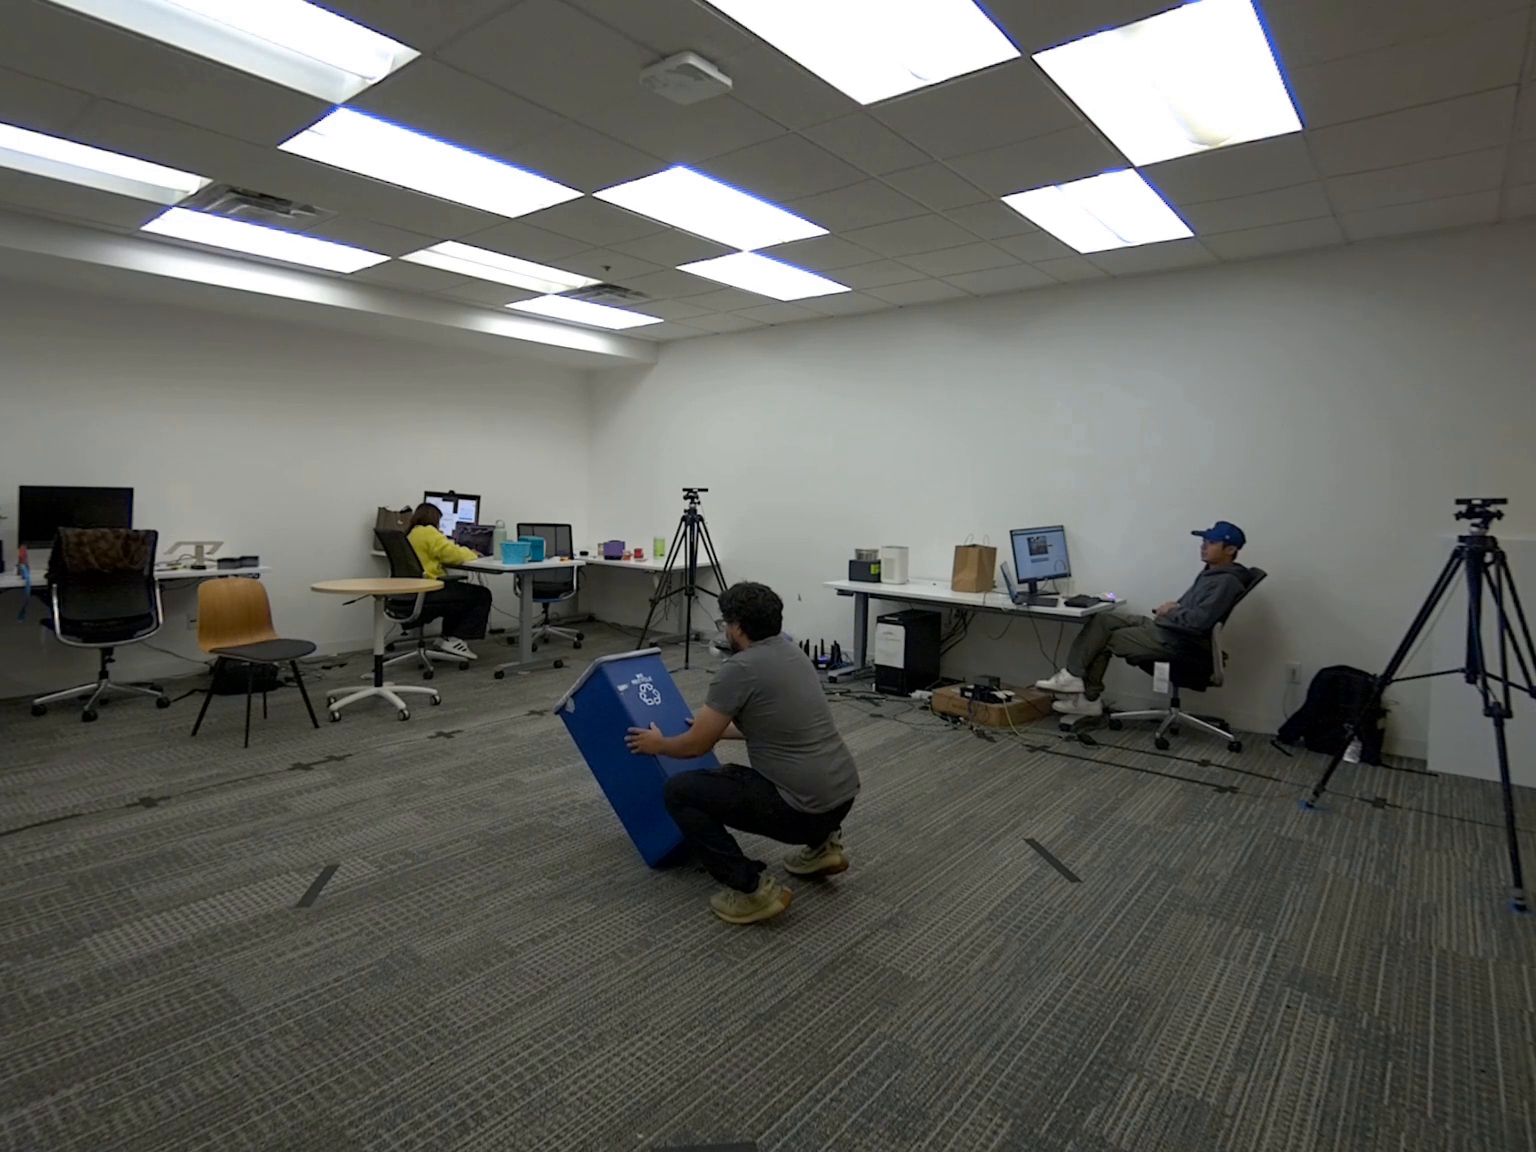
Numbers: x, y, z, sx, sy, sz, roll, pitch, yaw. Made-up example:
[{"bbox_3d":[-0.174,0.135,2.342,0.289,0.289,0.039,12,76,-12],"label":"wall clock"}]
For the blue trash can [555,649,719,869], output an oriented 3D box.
[{"bbox_3d":[-0.471,0.687,3.300,0.378,0.735,0.363,-47,-24,28],"label":"blue trash can"}]
